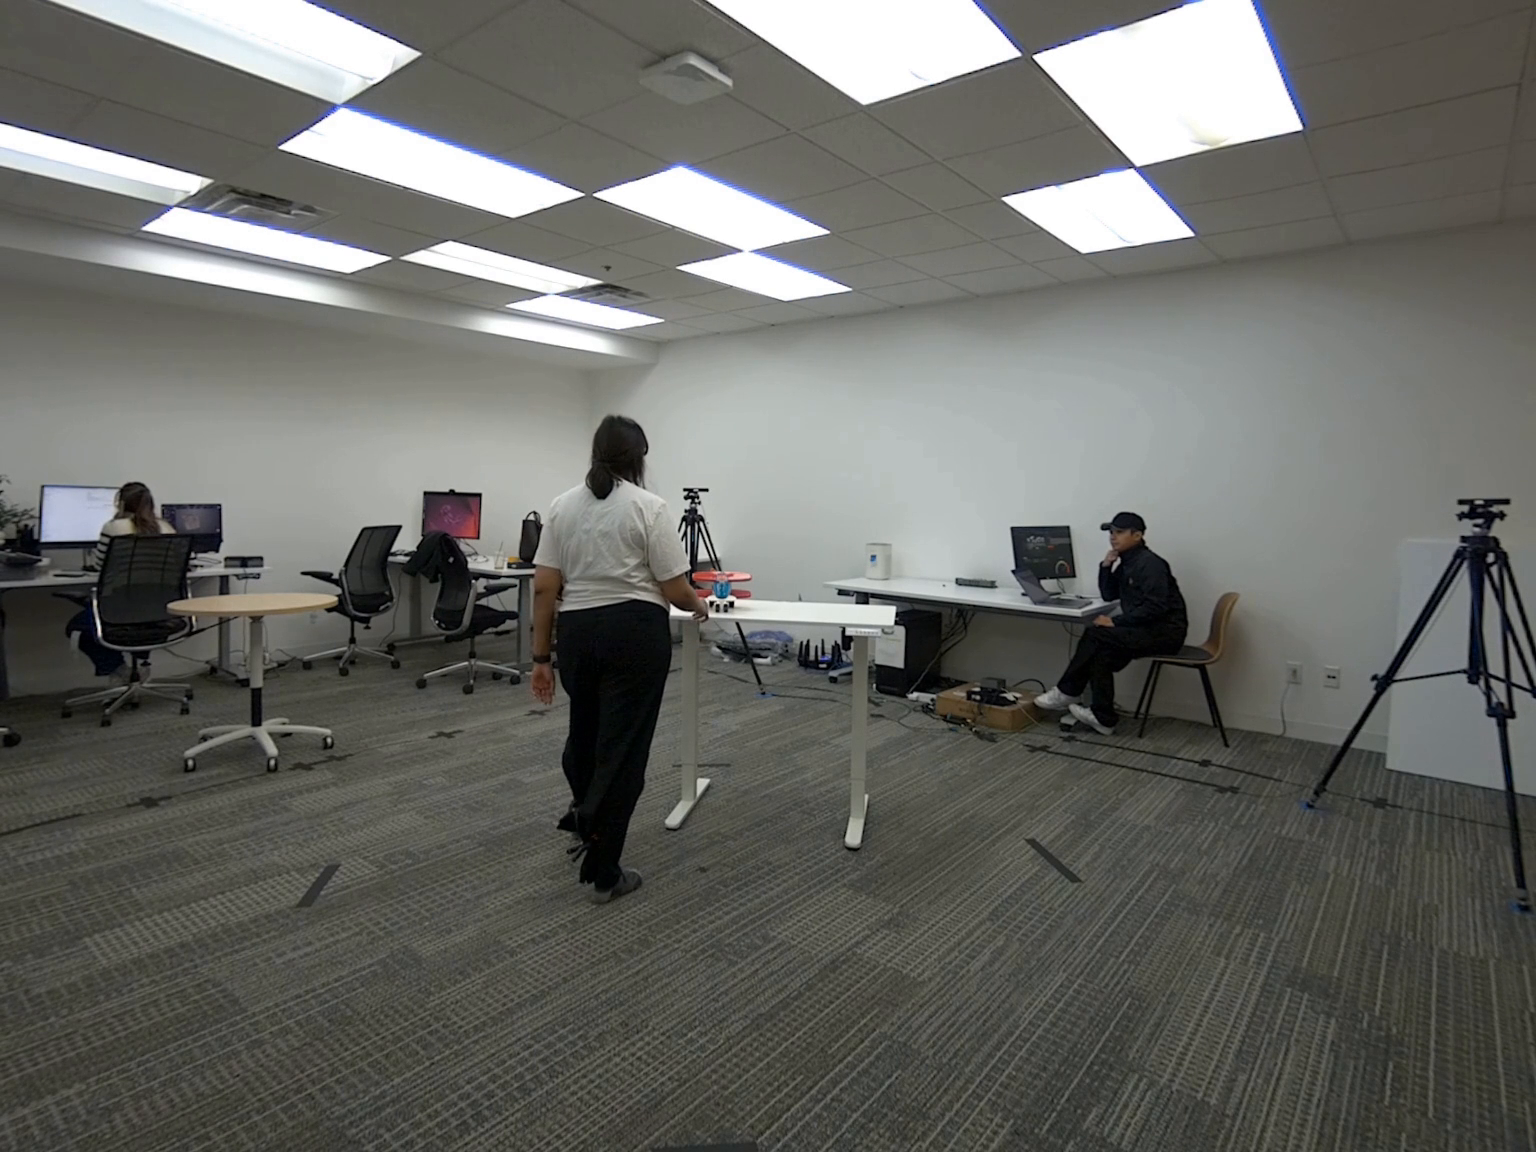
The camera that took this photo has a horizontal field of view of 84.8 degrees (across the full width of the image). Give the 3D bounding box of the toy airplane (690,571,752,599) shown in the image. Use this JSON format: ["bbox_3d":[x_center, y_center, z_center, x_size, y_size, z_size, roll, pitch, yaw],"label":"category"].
[{"bbox_3d":[-0.193,0.059,3.647,0.244,0.156,0.267,0,3,-29],"label":"toy airplane"}]
